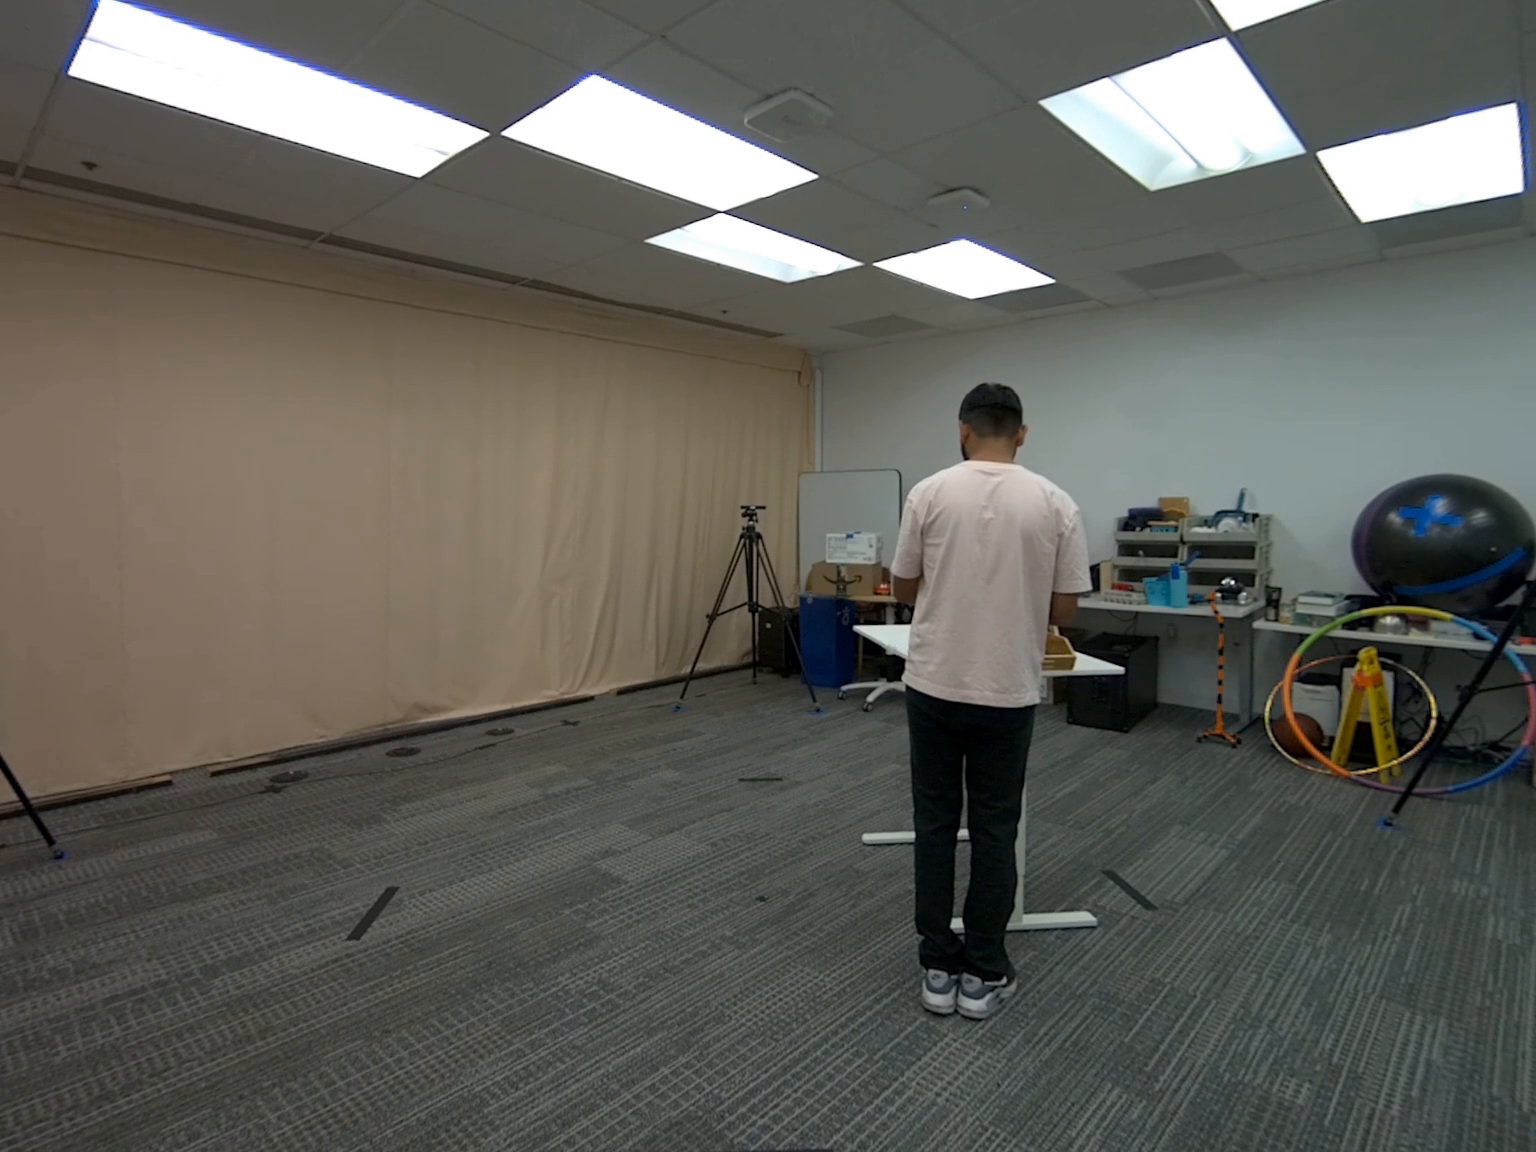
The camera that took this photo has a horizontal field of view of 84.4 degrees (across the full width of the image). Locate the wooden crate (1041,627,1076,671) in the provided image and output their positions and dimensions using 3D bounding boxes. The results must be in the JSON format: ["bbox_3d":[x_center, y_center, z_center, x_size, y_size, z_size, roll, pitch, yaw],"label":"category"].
[{"bbox_3d":[0.805,0.158,2.707,0.322,0.272,0.305,-1,5,-8],"label":"wooden crate"}]
